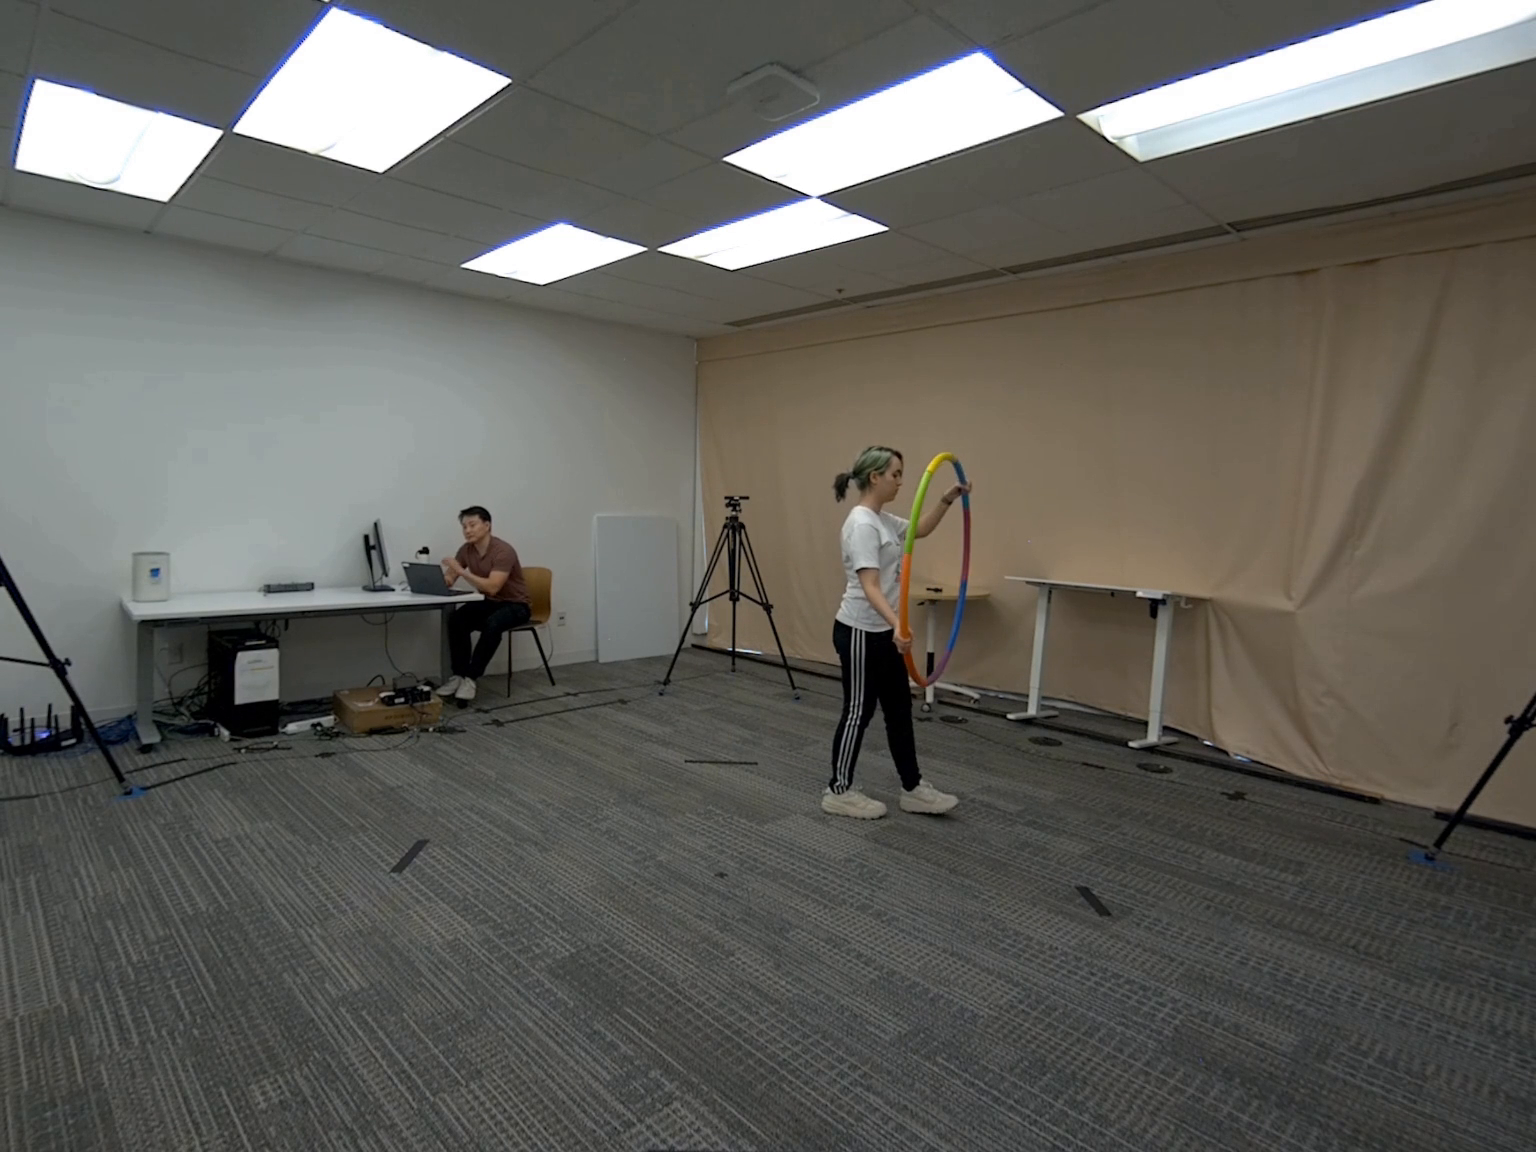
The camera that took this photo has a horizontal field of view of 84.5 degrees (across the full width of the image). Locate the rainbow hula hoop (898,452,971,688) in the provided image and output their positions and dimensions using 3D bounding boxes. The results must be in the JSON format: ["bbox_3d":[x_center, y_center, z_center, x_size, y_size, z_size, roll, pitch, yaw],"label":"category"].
[{"bbox_3d":[0.721,-0.026,3.566,0.036,0.975,0.961,6,6,27],"label":"rainbow hula hoop"}]
